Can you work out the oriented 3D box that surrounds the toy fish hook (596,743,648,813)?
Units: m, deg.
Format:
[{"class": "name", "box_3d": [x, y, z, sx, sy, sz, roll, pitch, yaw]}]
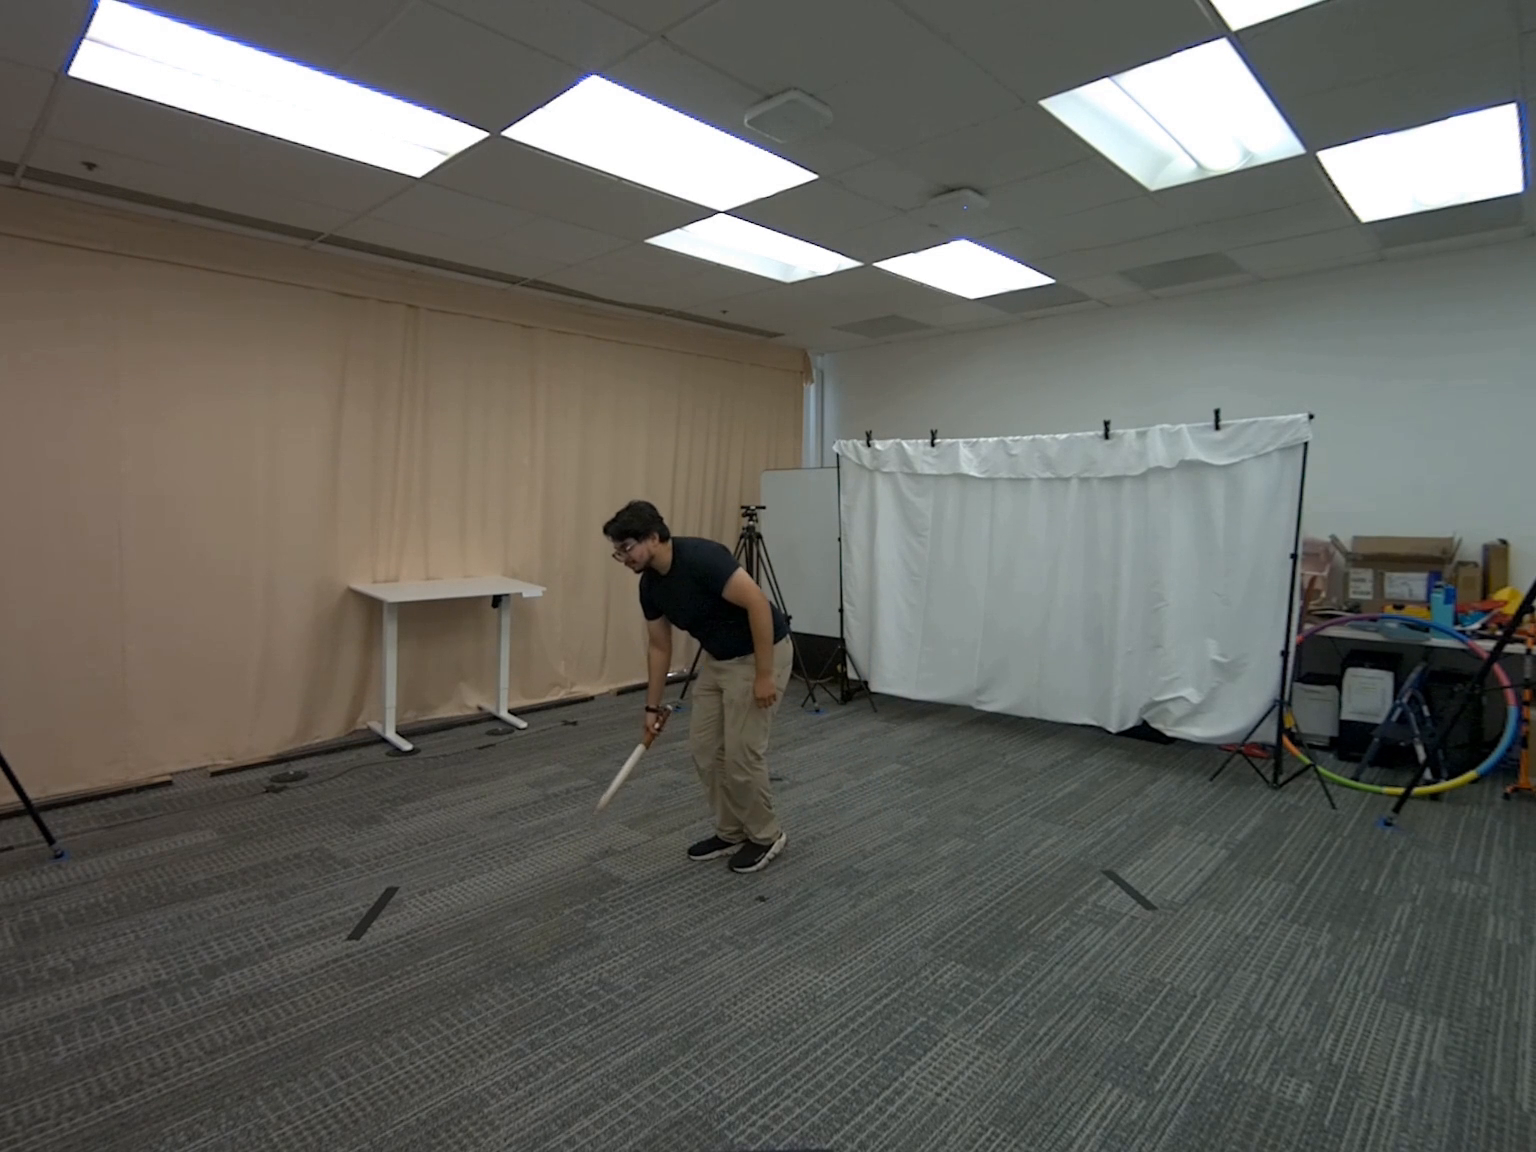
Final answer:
[{"class": "toy fish hook", "box_3d": [-0.537, 0.745, 3.419, 0.048, 0.504, 0.225, 37, -28, -1]}]
